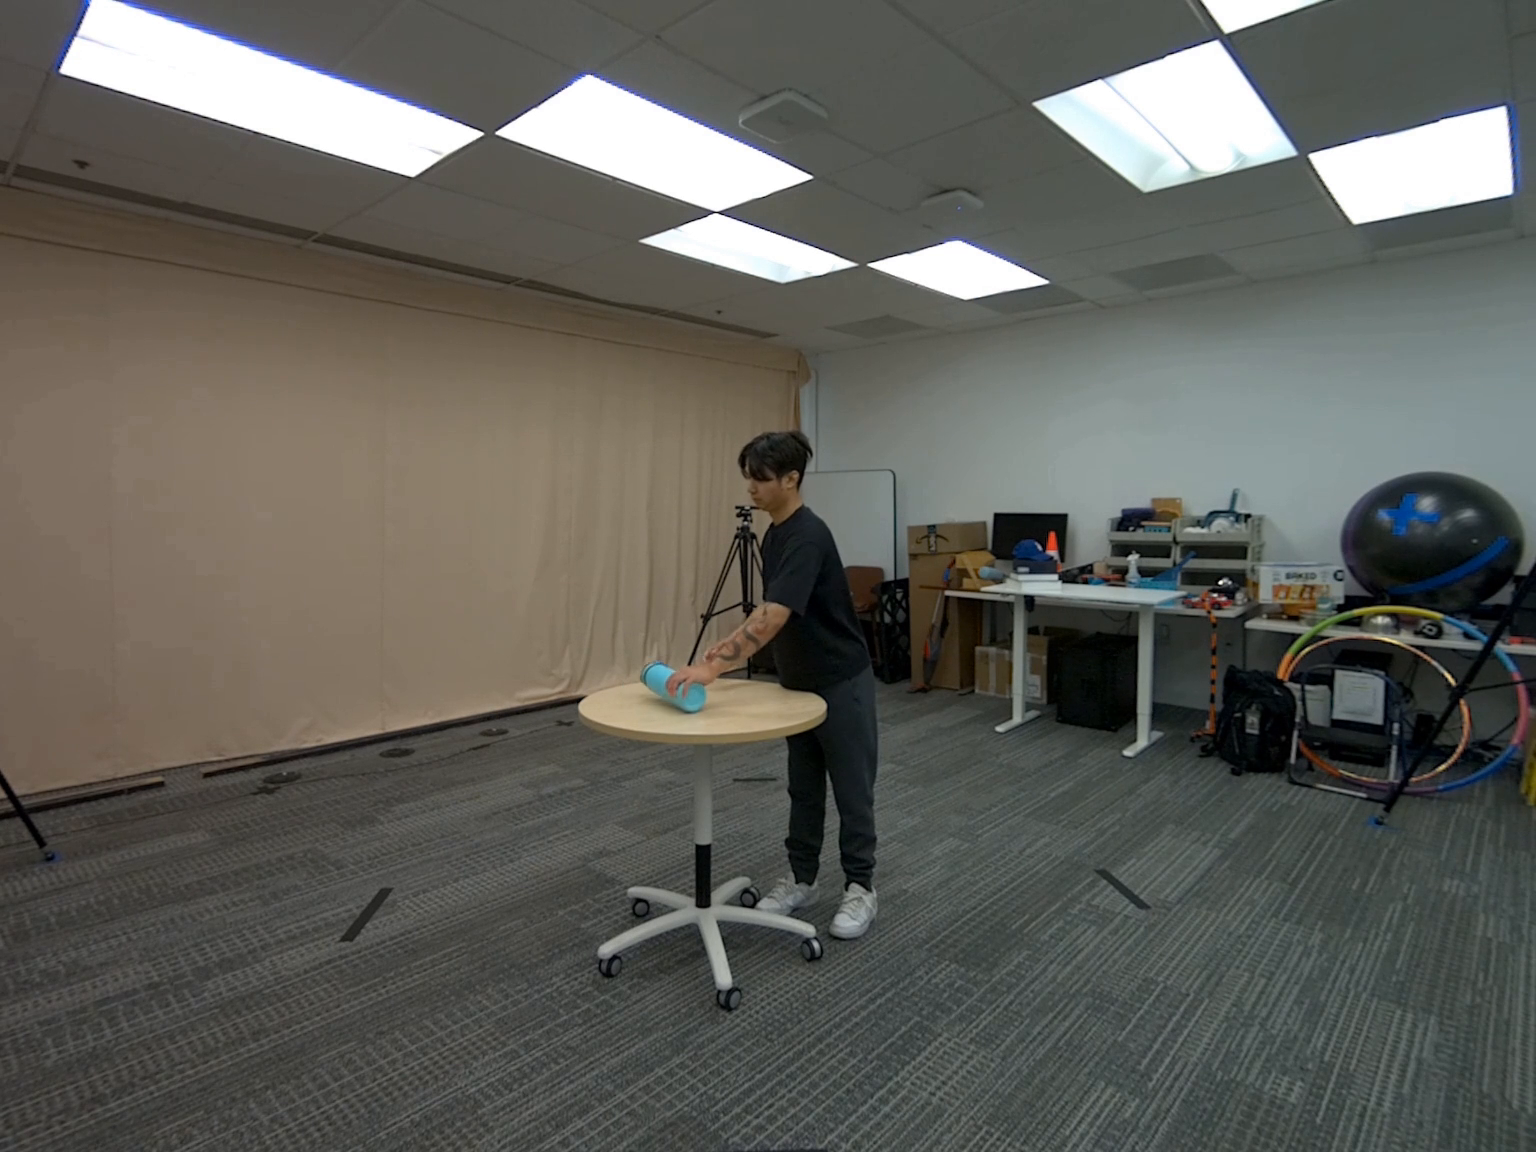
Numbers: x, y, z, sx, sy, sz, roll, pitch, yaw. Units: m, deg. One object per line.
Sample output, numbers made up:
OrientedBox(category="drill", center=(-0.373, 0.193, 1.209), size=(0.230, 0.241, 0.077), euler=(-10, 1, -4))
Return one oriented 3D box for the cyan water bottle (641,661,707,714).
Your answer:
OrientedBox(category="cyan water bottle", center=(-0.289, 0.328, 2.586), size=(0.090, 0.092, 0.293), euler=(-2, 10, -34))
